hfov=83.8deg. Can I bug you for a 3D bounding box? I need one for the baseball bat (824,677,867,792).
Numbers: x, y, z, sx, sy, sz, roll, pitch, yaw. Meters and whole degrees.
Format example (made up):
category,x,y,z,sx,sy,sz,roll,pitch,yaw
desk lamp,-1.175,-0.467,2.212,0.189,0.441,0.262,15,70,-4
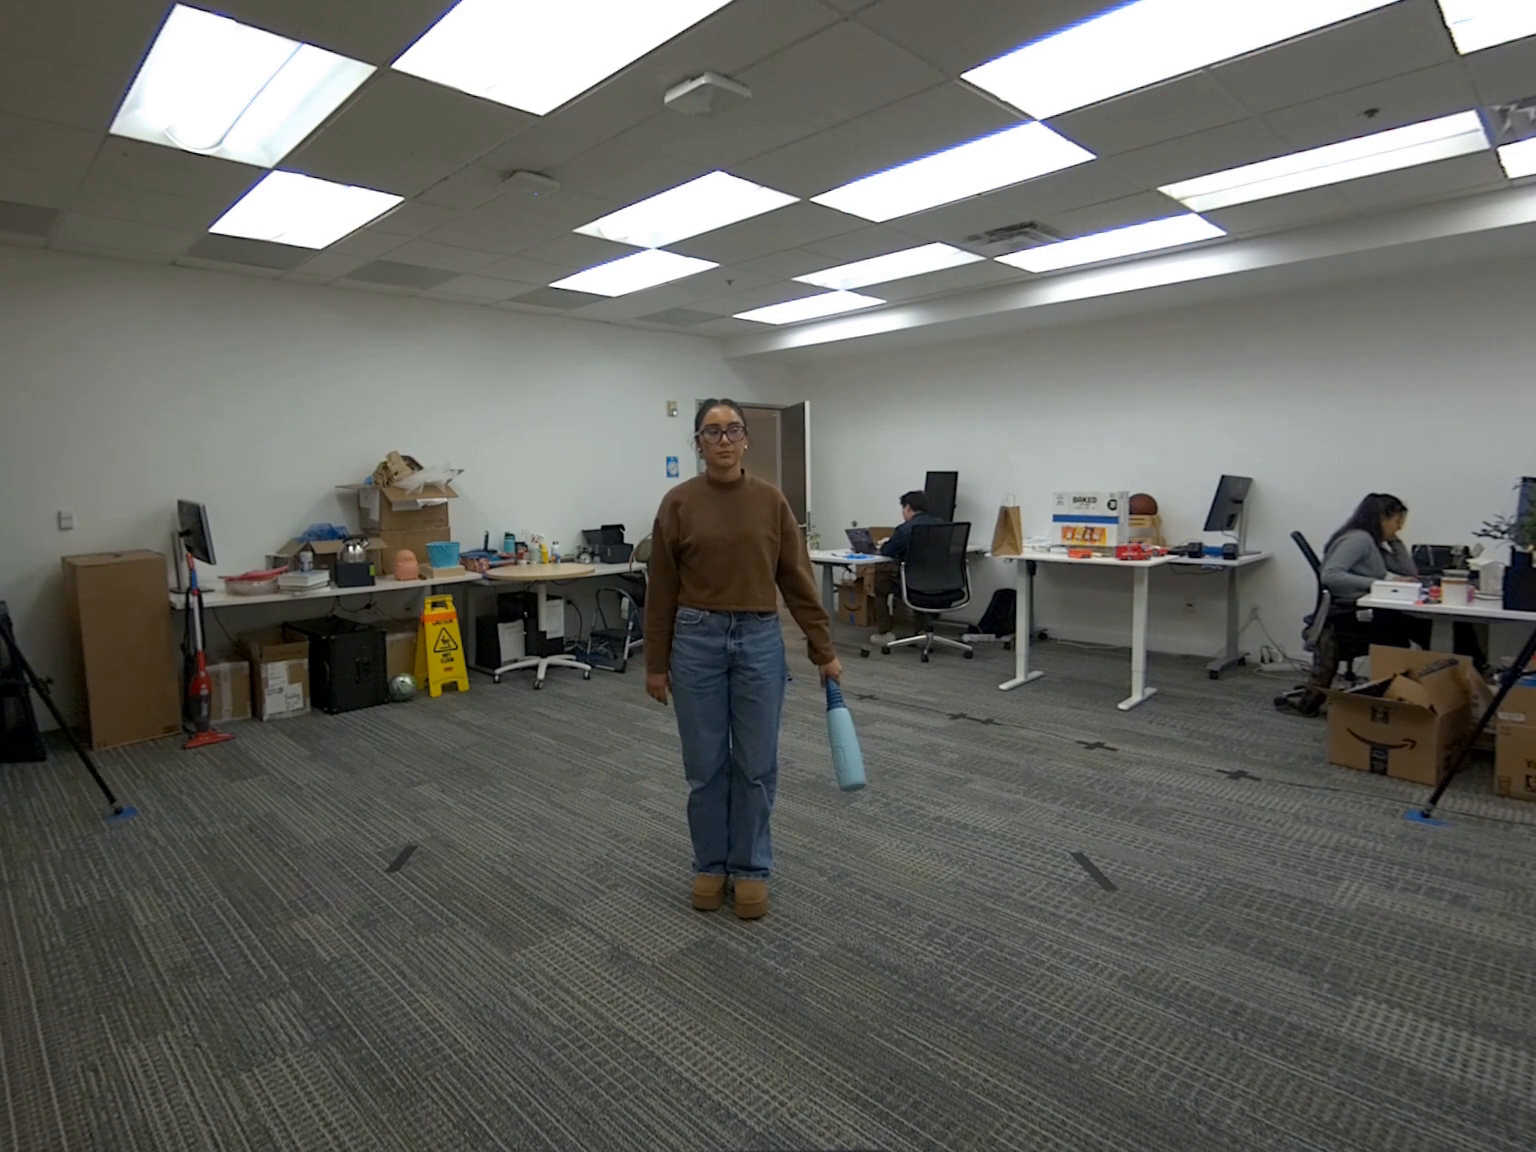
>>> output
category,x,y,z,sx,sy,sz,roll,pitch,yaw
baseball bat,0.198,0.399,2.731,0.088,0.559,0.087,-8,-32,-6
